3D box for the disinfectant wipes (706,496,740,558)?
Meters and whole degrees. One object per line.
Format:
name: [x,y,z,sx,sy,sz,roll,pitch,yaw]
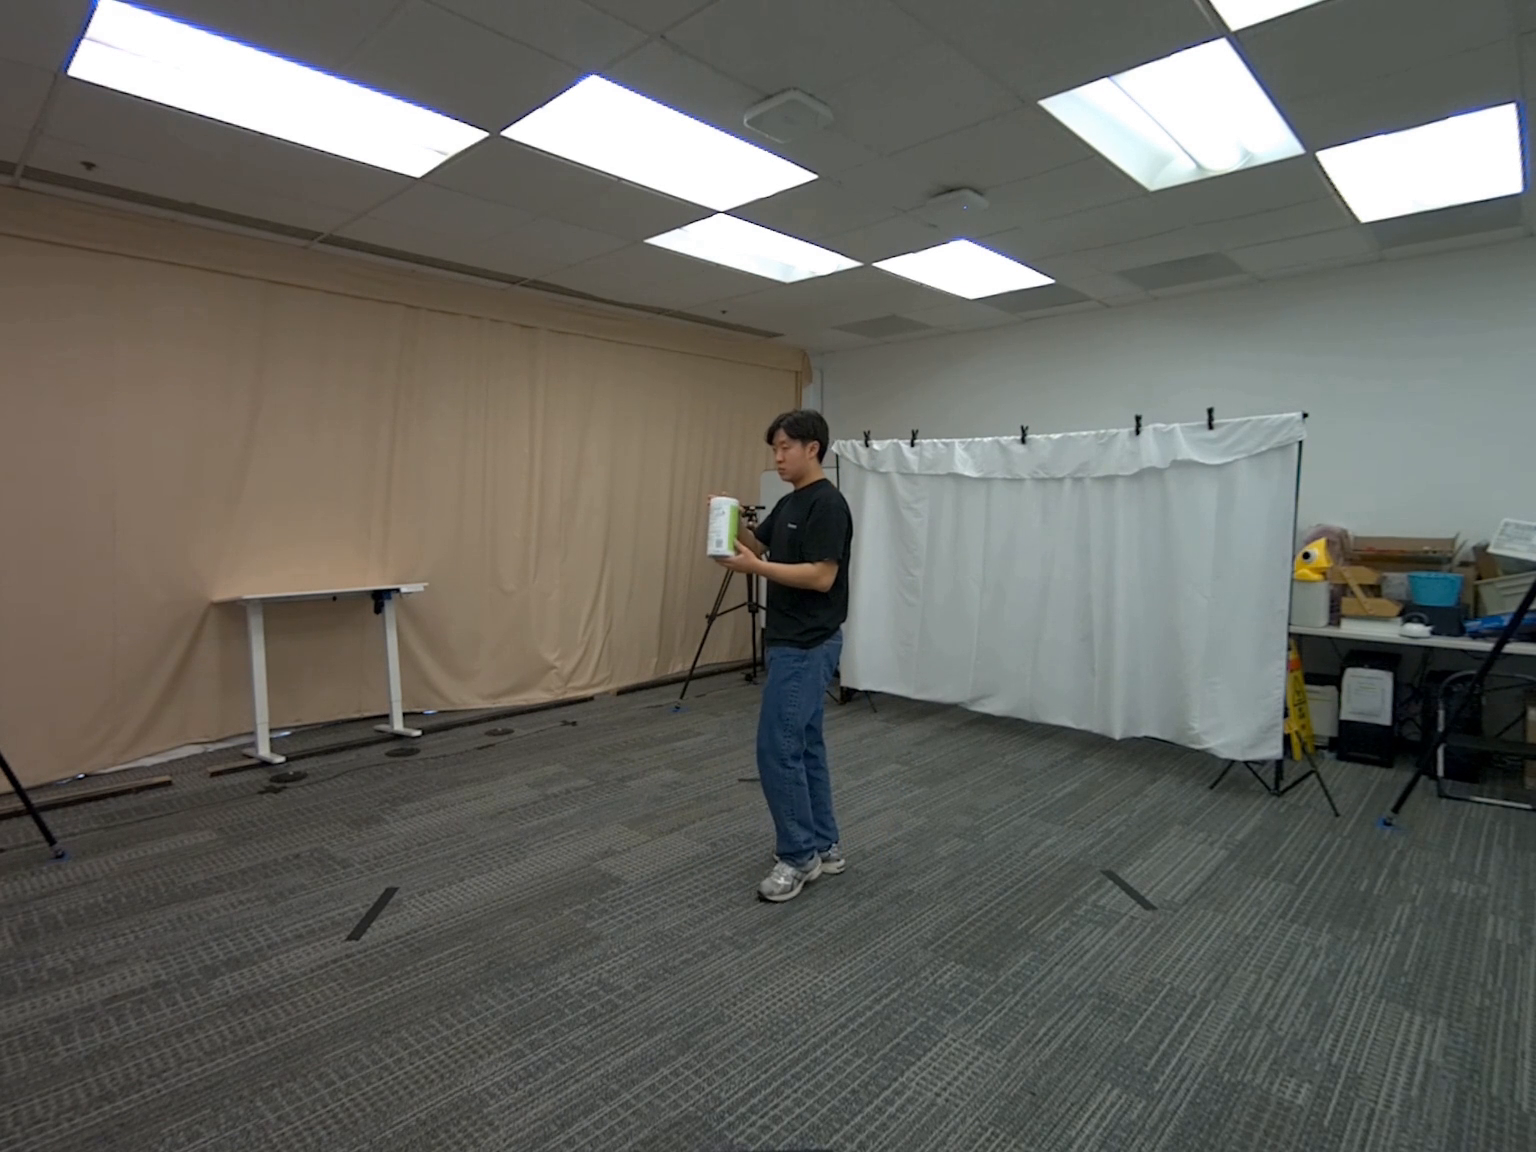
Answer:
disinfectant wipes: [-0.165,-0.166,3.106,0.118,0.219,0.117,6,-13,-1]
